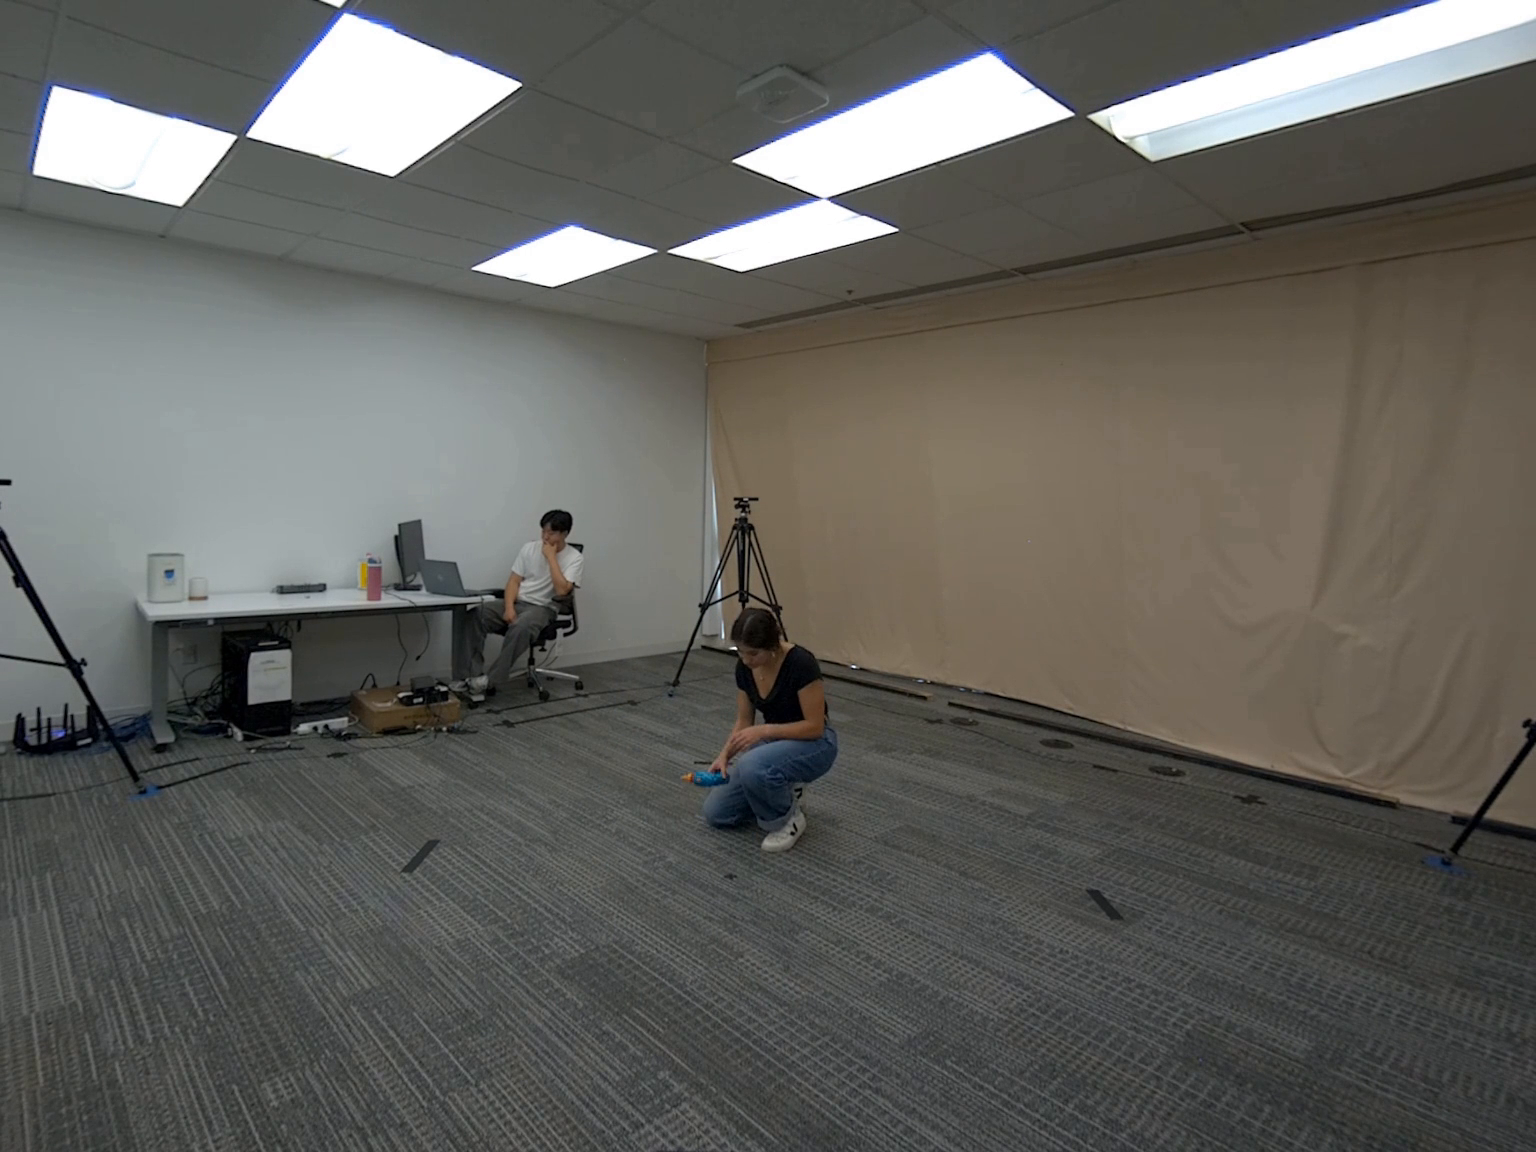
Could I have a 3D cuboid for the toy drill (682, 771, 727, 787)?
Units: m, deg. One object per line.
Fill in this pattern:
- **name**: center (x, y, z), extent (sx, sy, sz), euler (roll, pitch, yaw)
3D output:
- **toy drill**: center (-0.245, 0.852, 3.356), extent (0.147, 0.168, 0.061), euler (24, 32, 7)
